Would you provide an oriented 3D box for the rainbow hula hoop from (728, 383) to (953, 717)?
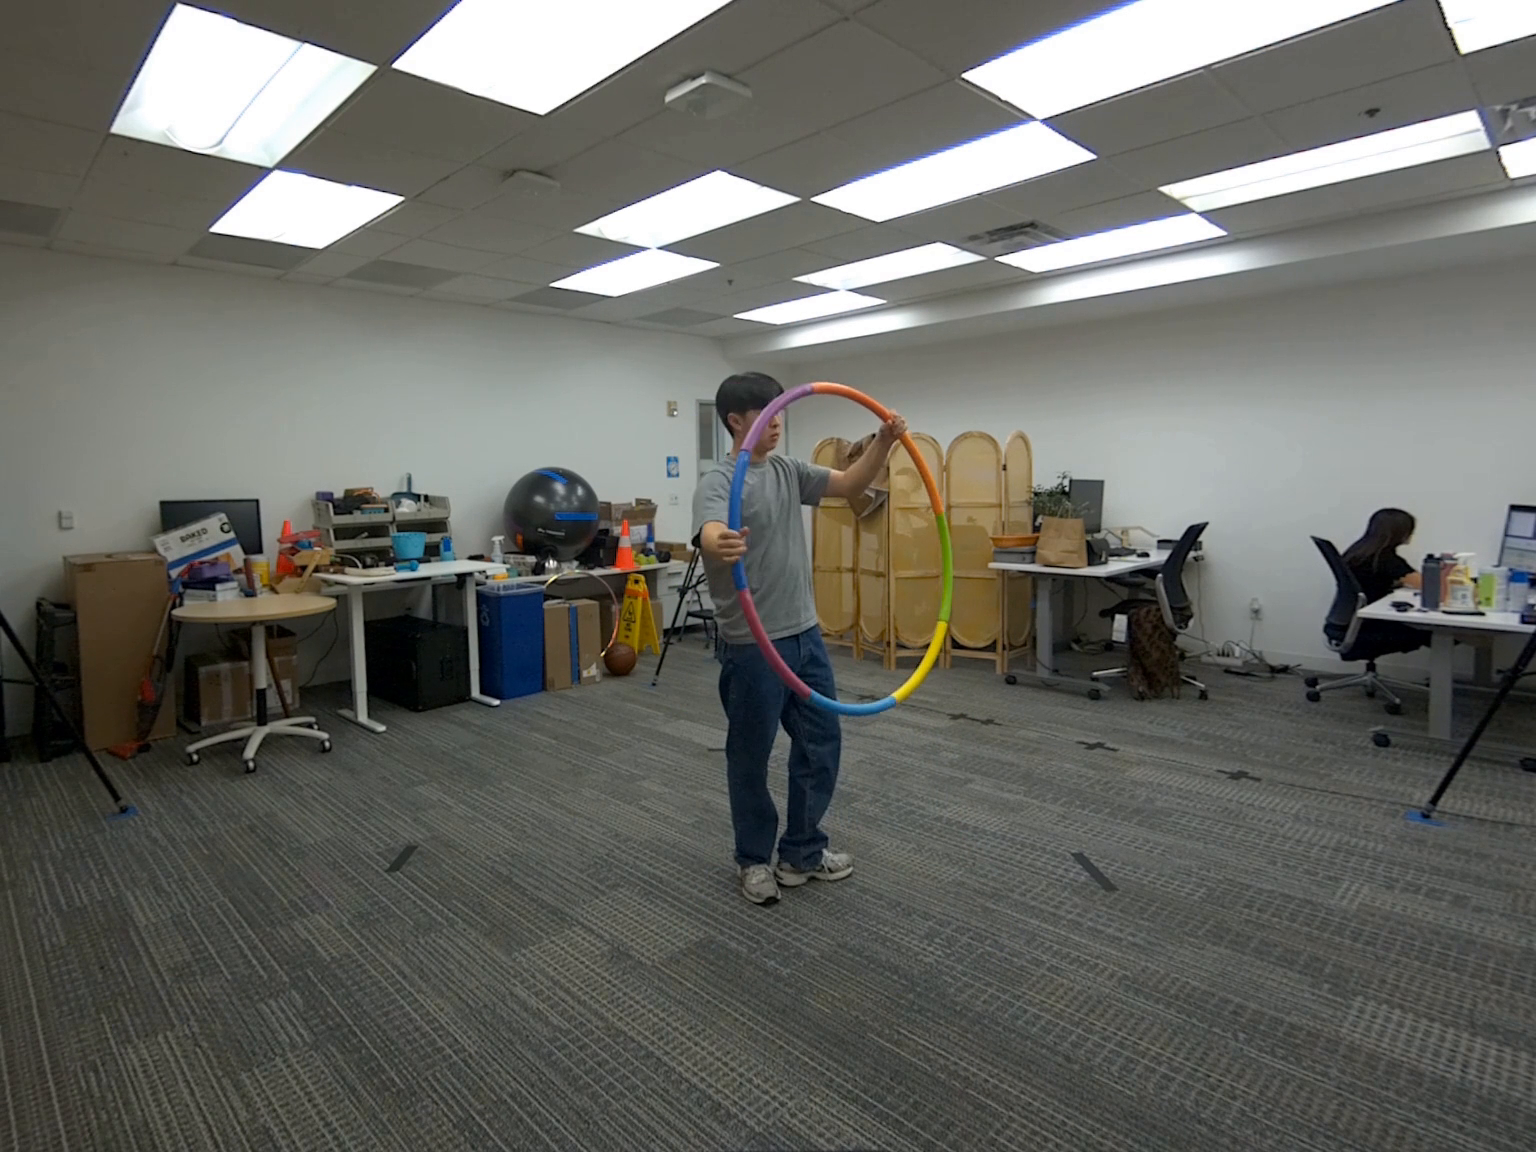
[{"bbox_3d":[0.252,-0.103,2.548,0.953,0.983,0.036,-5,-5,-42],"label":"rainbow hula hoop"}]
